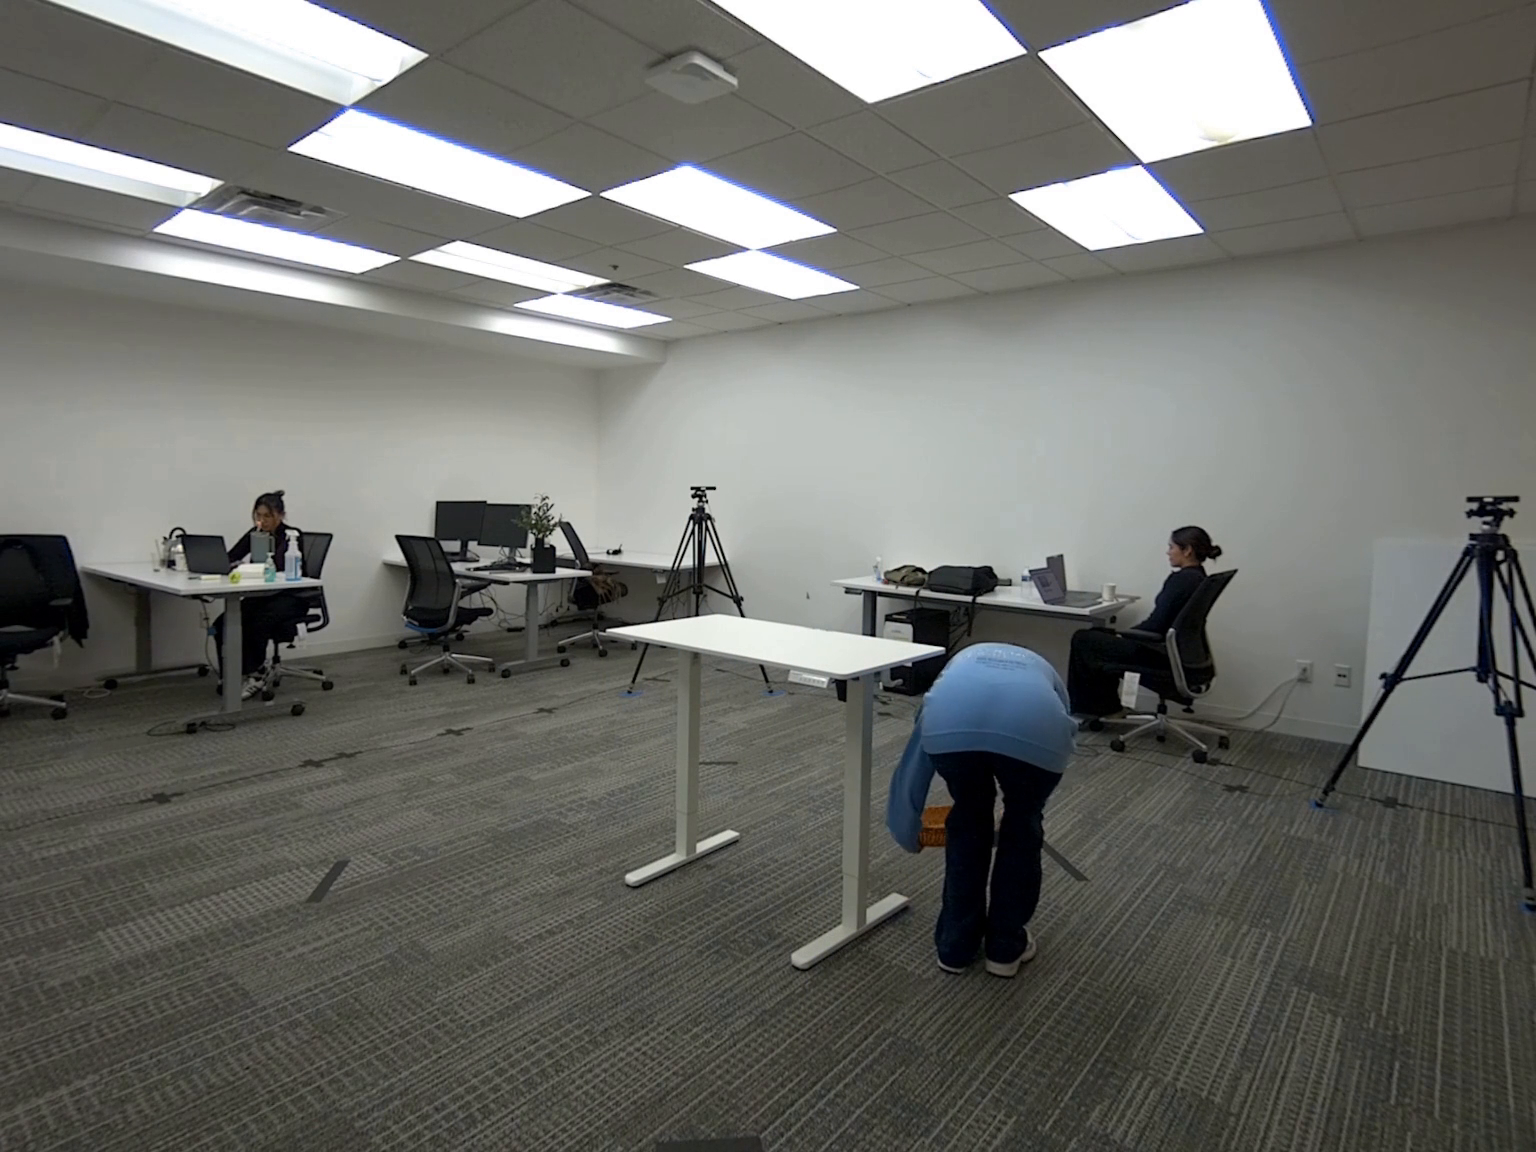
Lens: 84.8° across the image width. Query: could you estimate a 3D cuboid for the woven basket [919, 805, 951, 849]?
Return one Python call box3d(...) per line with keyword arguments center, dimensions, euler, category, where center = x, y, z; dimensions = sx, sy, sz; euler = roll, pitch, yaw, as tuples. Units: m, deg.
box3d(center=(0.597, 0.826, 2.834), dimensions=(0.345, 0.073, 0.255), euler=(-1, -1, -14), category="woven basket")
